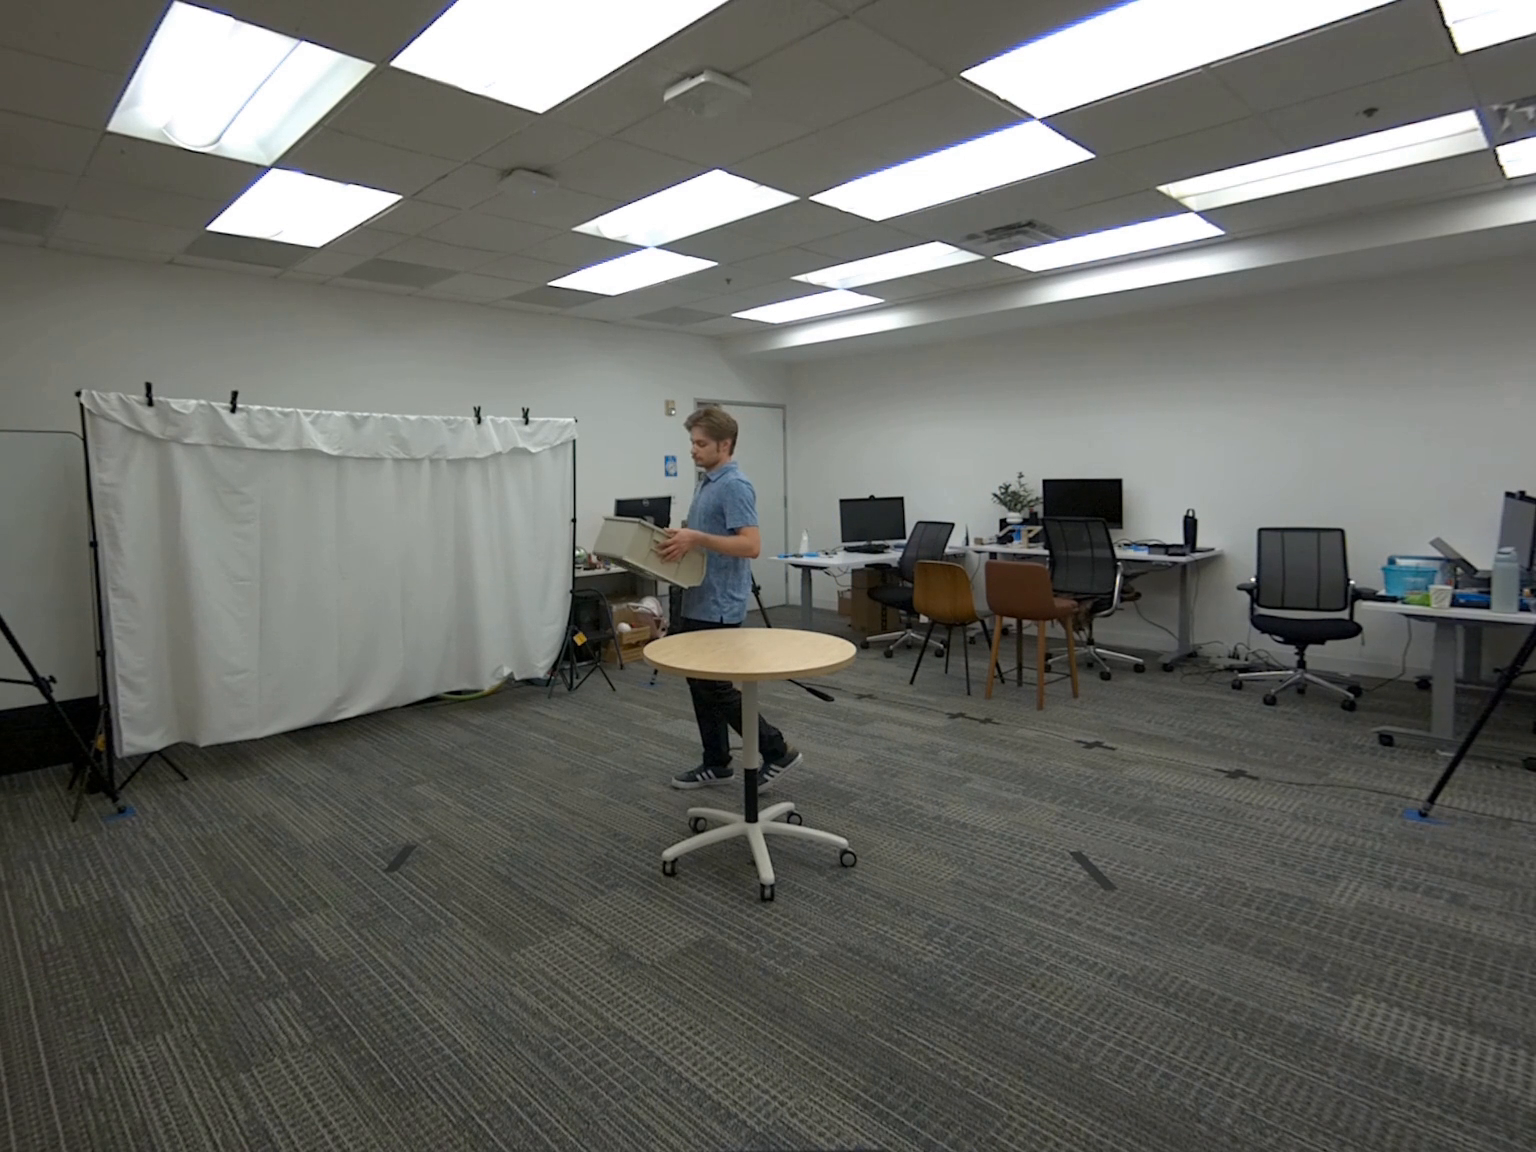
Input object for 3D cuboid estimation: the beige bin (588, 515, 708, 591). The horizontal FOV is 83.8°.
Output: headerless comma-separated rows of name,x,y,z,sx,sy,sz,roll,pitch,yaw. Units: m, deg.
beige bin,-0.512,-0.100,3.718,0.366,0.190,0.434,25,-8,-28
